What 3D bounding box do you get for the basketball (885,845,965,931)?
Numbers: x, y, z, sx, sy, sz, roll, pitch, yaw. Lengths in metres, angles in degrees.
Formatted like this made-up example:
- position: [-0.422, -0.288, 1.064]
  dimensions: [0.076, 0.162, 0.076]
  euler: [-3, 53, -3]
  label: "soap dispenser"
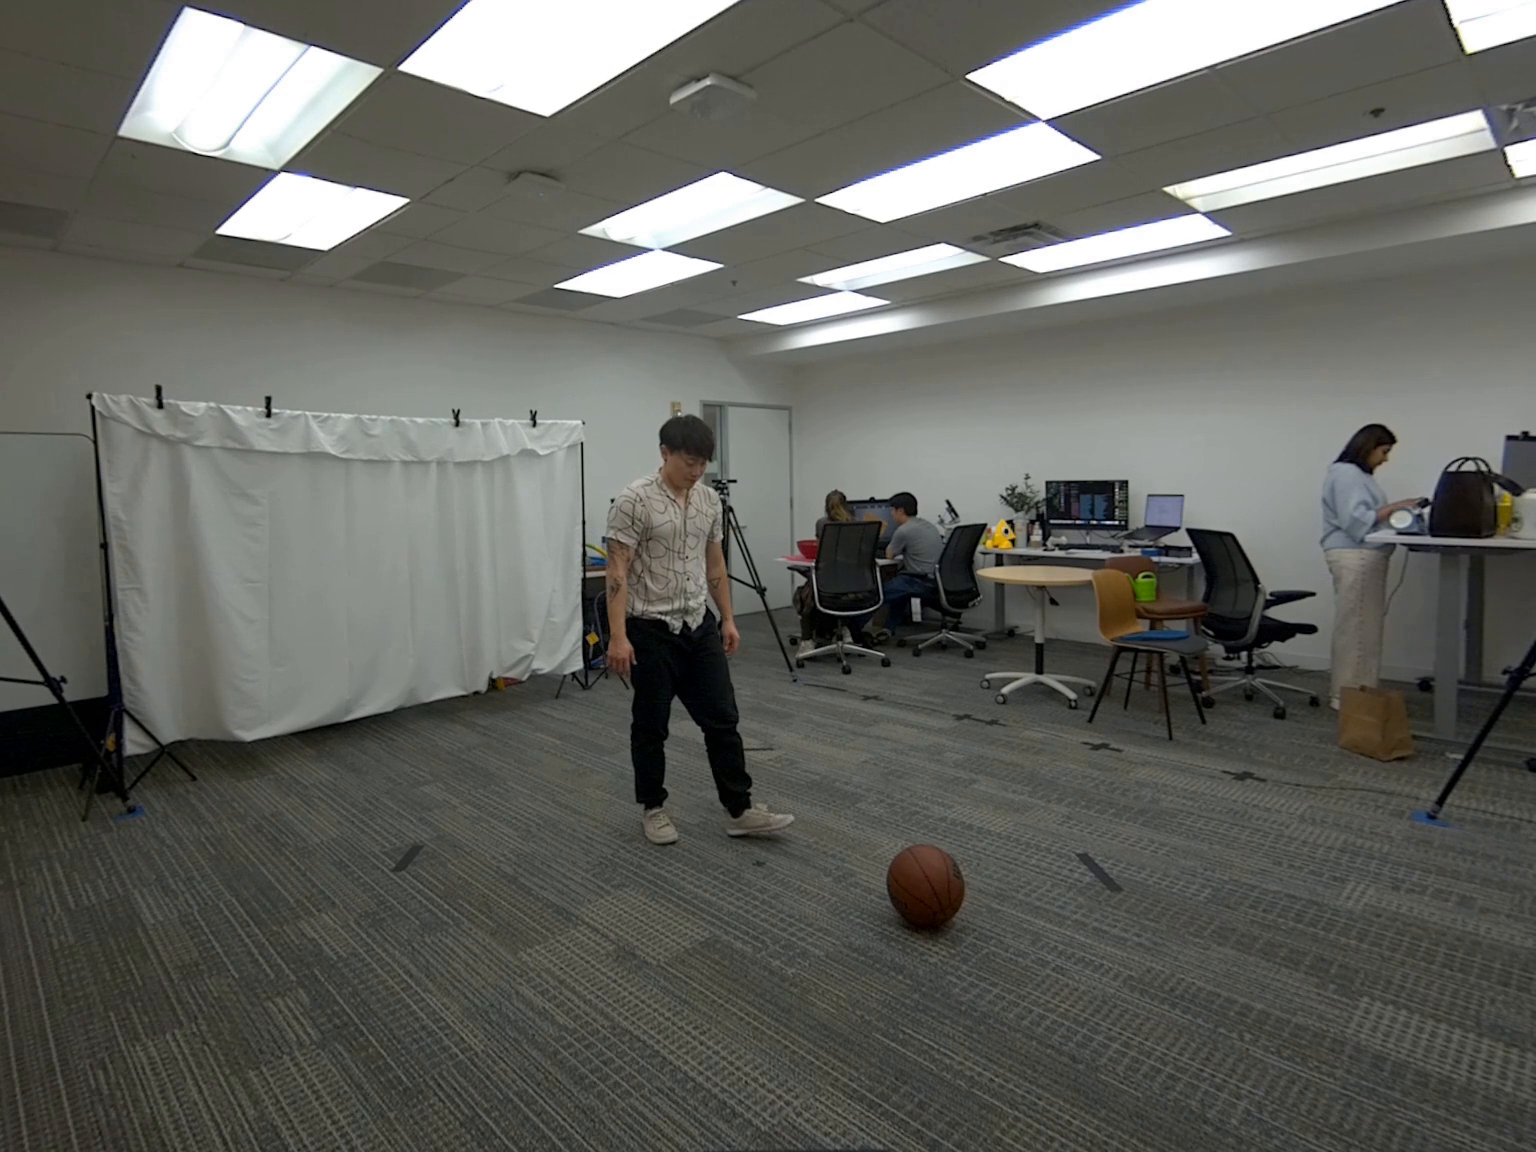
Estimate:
- position: [0.498, 0.967, 2.675]
  dimensions: [0.236, 0.235, 0.237]
  euler: [-1, 5, -2]
  label: "basketball"
